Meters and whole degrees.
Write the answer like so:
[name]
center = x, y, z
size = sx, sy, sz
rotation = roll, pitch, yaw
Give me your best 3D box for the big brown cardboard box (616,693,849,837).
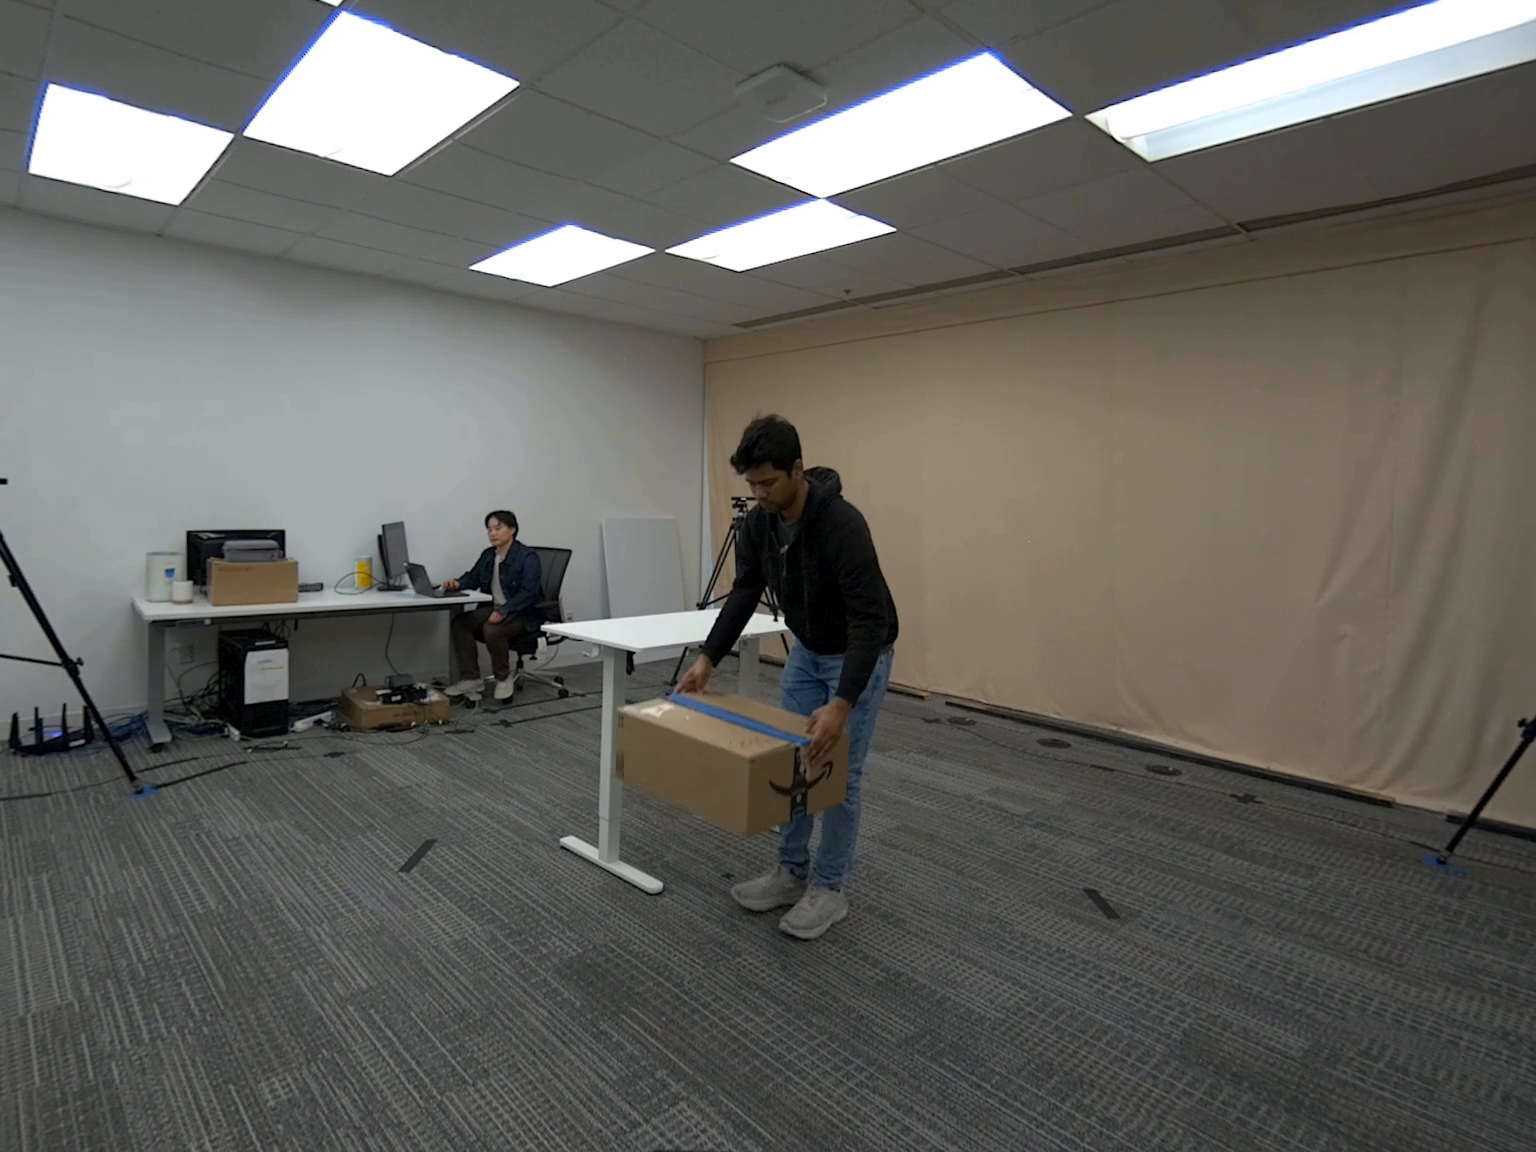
[big brown cardboard box]
center = -0.128, 0.533, 2.499
size = 0.605, 0.232, 0.408
rotation = 9, 8, 42
